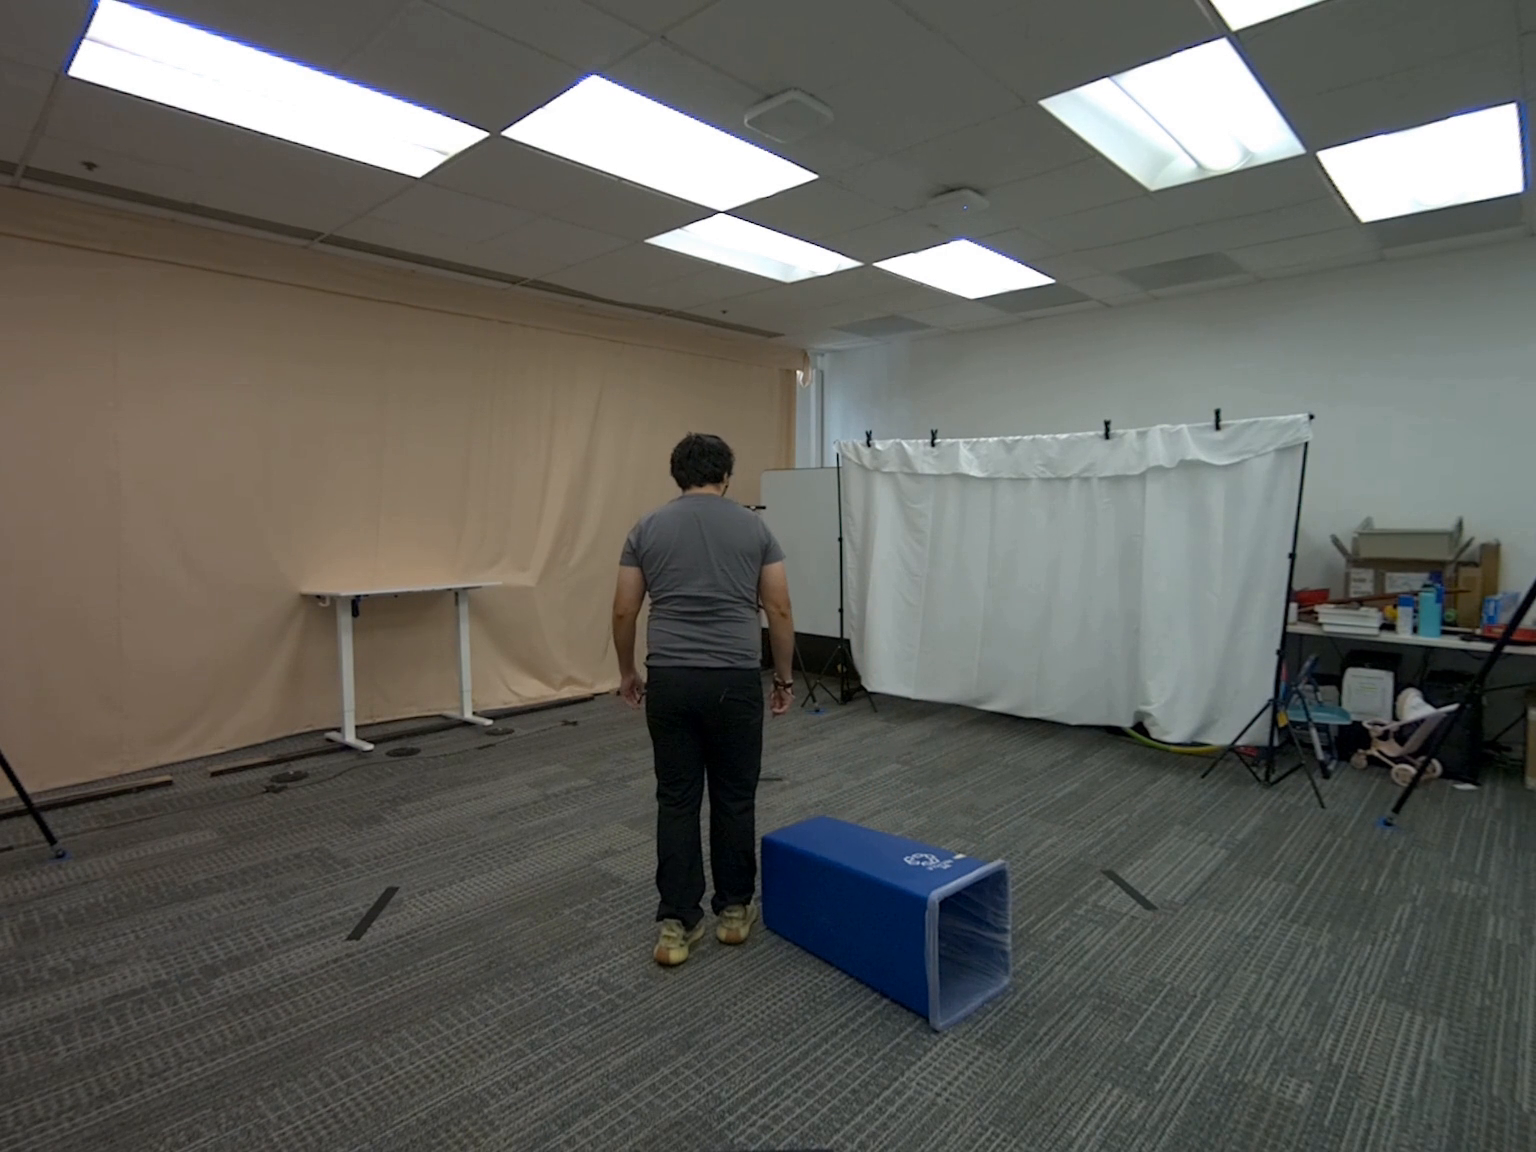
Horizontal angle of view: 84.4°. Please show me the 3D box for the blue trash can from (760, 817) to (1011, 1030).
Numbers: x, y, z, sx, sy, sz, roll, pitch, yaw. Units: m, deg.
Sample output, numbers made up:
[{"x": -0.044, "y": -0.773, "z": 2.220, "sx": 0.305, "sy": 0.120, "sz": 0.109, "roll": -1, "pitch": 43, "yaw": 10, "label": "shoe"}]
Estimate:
[{"x": 0.334, "y": 0.997, "z": 2.591, "sx": 0.366, "sy": 0.373, "sz": 0.737, "roll": -4, "pitch": 4, "yaw": -42, "label": "blue trash can"}]
